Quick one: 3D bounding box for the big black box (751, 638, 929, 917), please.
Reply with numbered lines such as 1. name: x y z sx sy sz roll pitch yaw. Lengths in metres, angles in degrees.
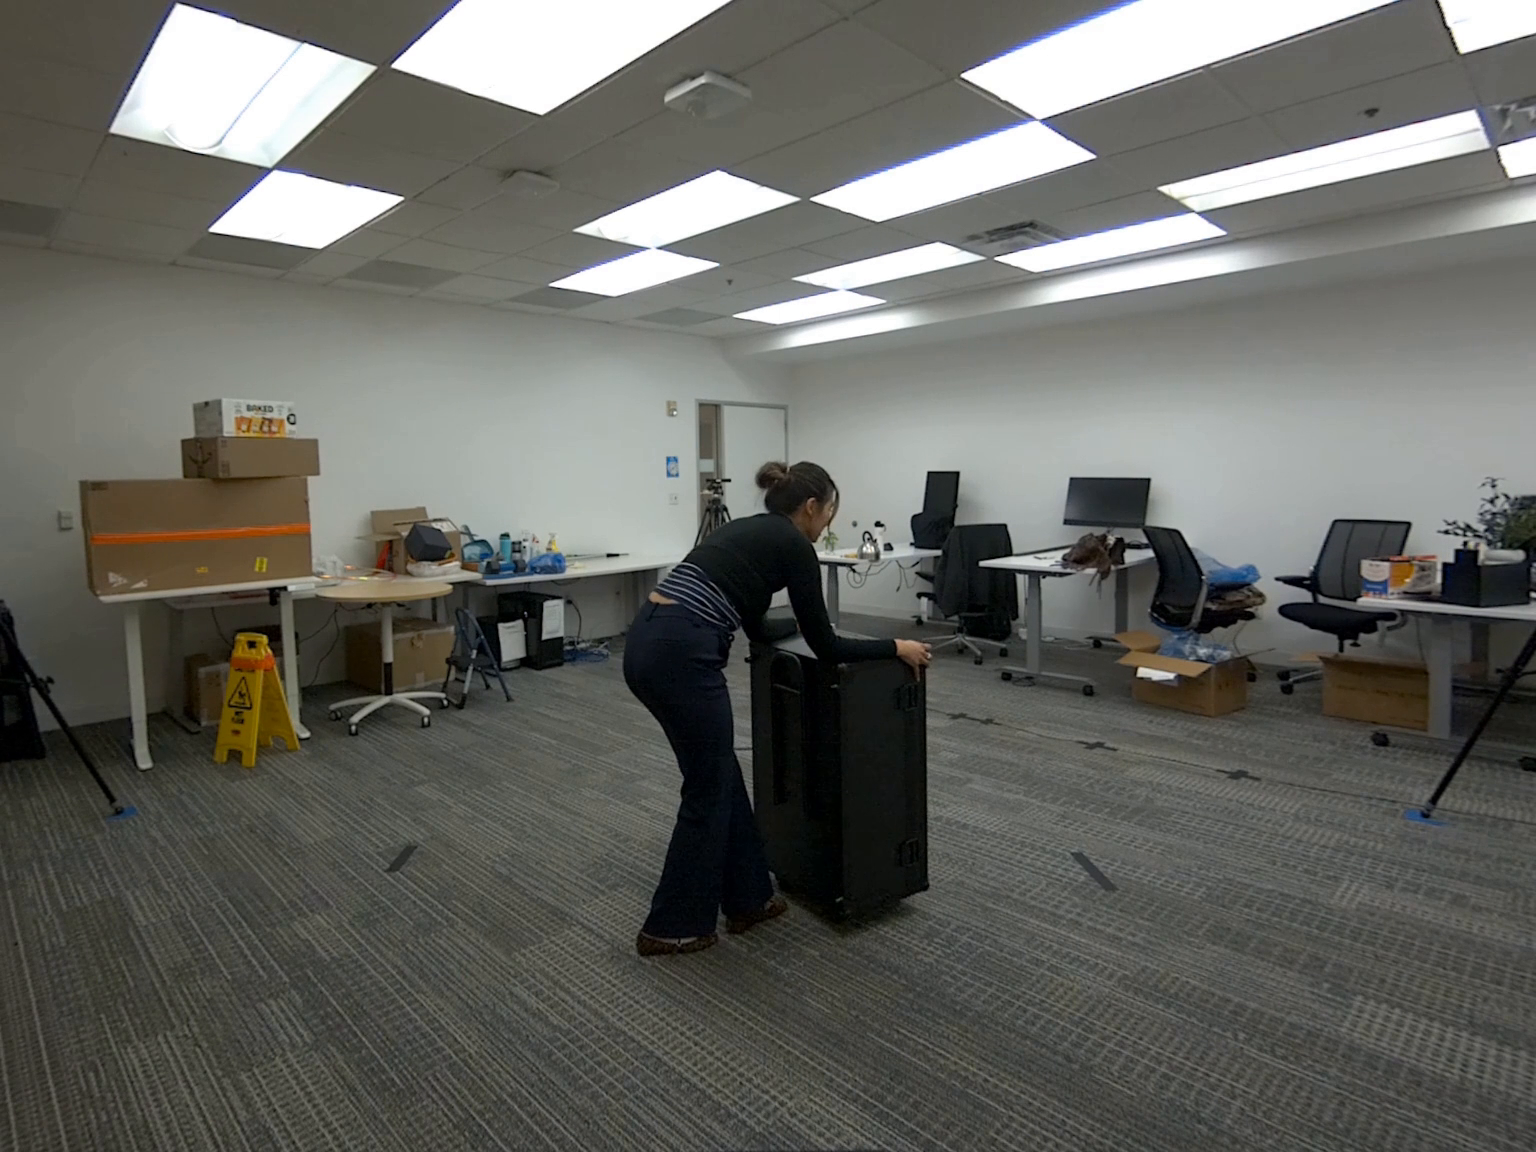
1. big black box: 0.228 0.647 2.818 0.387 0.857 0.536 -6 6 -33
